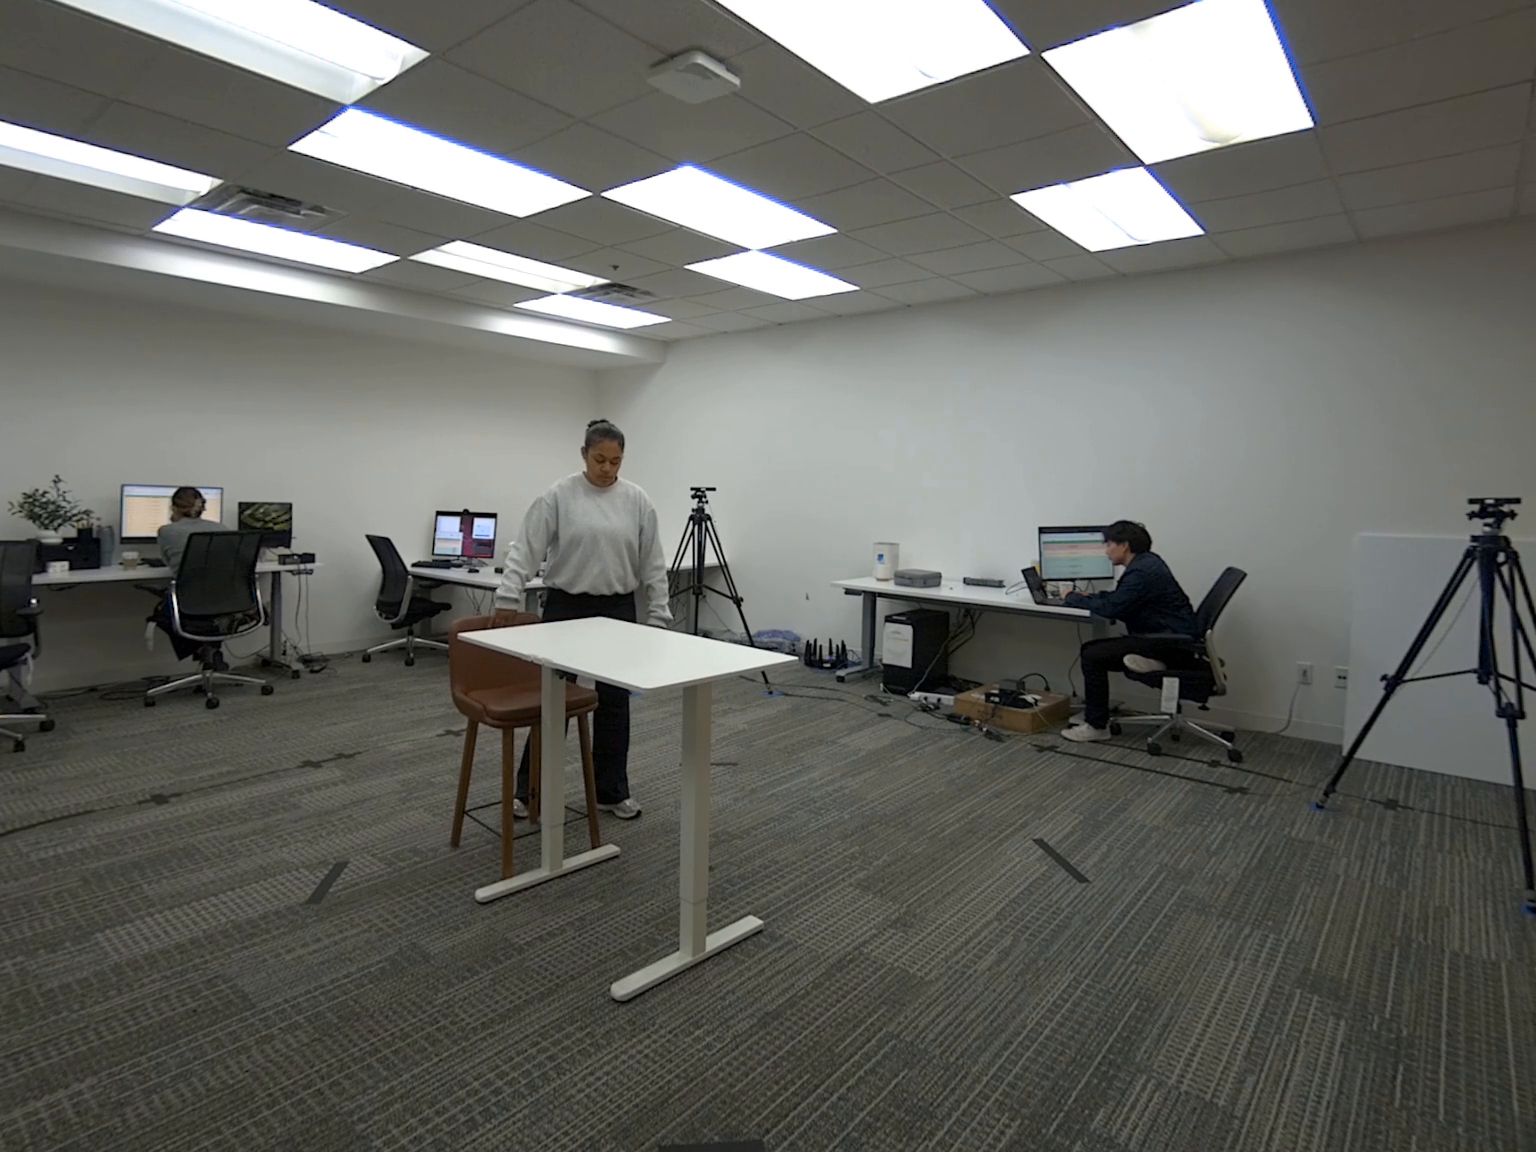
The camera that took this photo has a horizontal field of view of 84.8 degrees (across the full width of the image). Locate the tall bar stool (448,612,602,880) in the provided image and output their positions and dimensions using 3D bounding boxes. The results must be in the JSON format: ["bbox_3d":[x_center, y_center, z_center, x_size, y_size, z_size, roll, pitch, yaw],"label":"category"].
[{"bbox_3d":[-0.941,0.606,3.216,0.483,0.889,0.442,1,1,44],"label":"tall bar stool"}]
